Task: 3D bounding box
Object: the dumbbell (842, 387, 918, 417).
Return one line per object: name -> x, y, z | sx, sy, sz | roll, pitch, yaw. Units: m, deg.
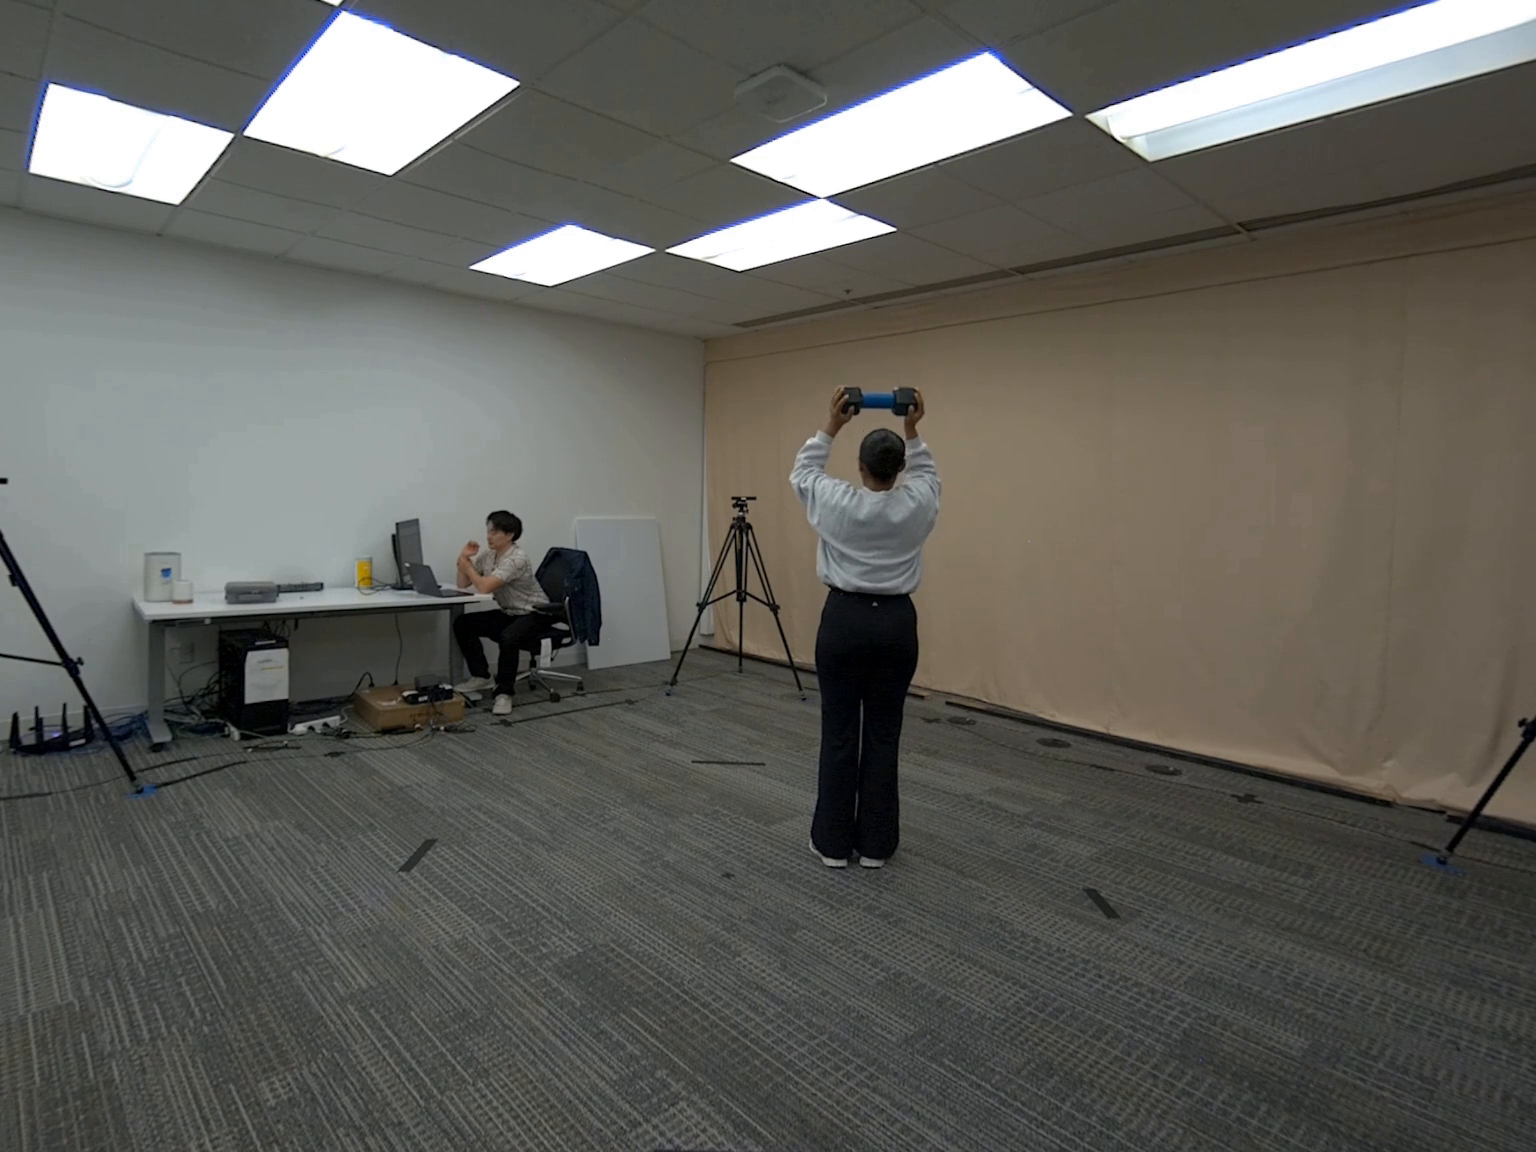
dumbbell -> 0.407, -0.673, 3.213 | 0.294, 0.125, 0.107 | 1, -20, 0
